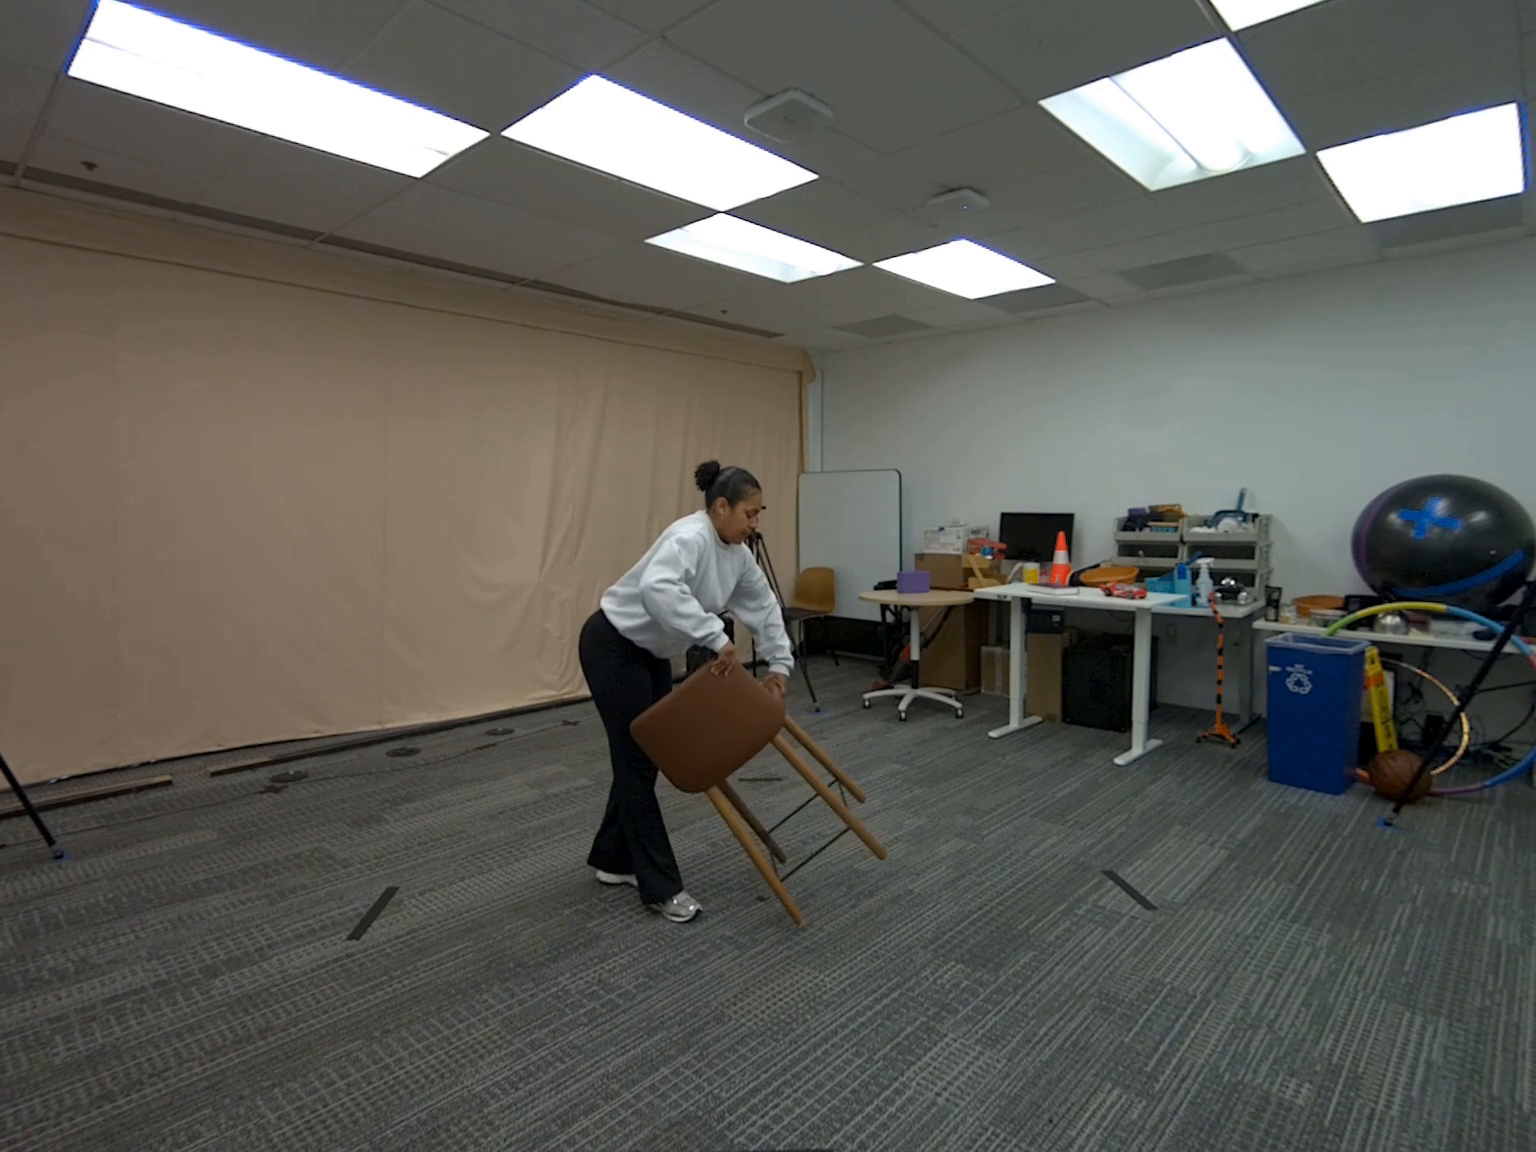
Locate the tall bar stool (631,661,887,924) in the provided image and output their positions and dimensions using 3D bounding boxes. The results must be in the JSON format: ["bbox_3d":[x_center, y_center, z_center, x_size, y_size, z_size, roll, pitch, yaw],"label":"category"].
[{"bbox_3d":[-0.037,0.667,2.887,0.457,0.881,0.471,-39,9,4],"label":"tall bar stool"}]
